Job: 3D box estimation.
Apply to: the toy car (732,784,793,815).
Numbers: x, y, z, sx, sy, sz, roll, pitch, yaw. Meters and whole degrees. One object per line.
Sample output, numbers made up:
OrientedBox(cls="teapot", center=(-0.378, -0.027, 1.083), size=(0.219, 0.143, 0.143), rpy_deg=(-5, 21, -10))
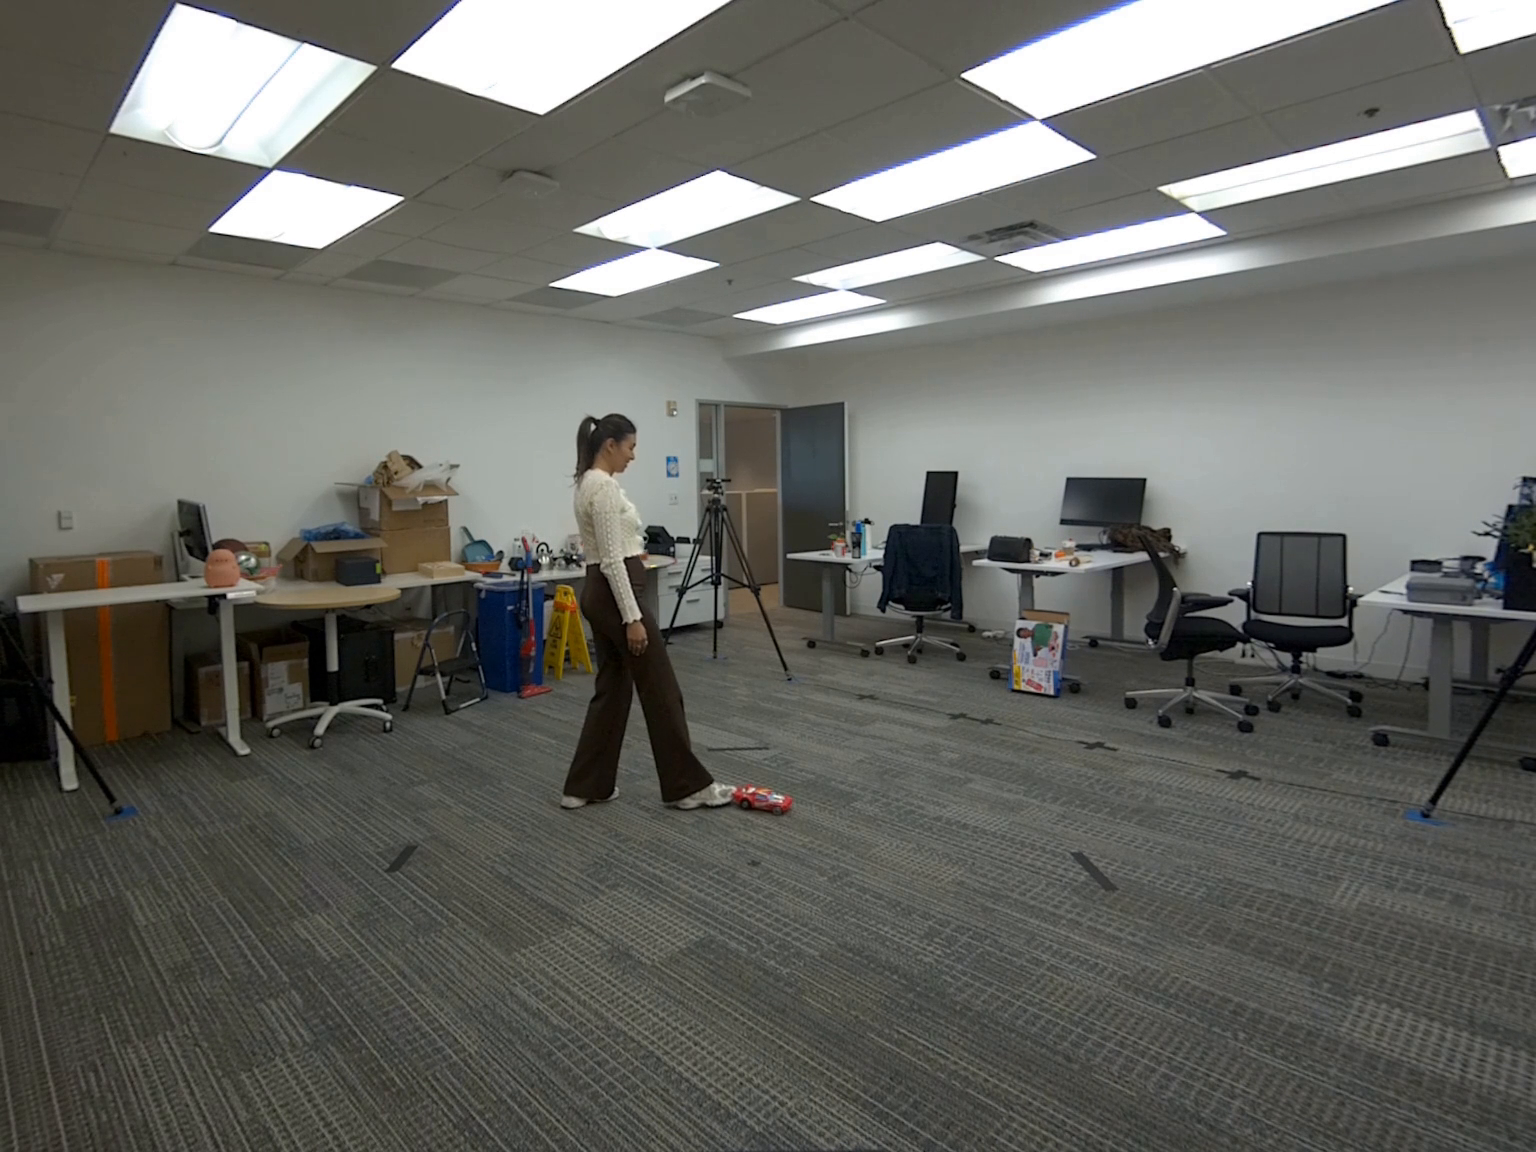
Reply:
OrientedBox(cls="toy car", center=(-0.032, 0.951, 3.629), size=(0.261, 0.082, 0.128), rpy_deg=(14, 12, 24))
